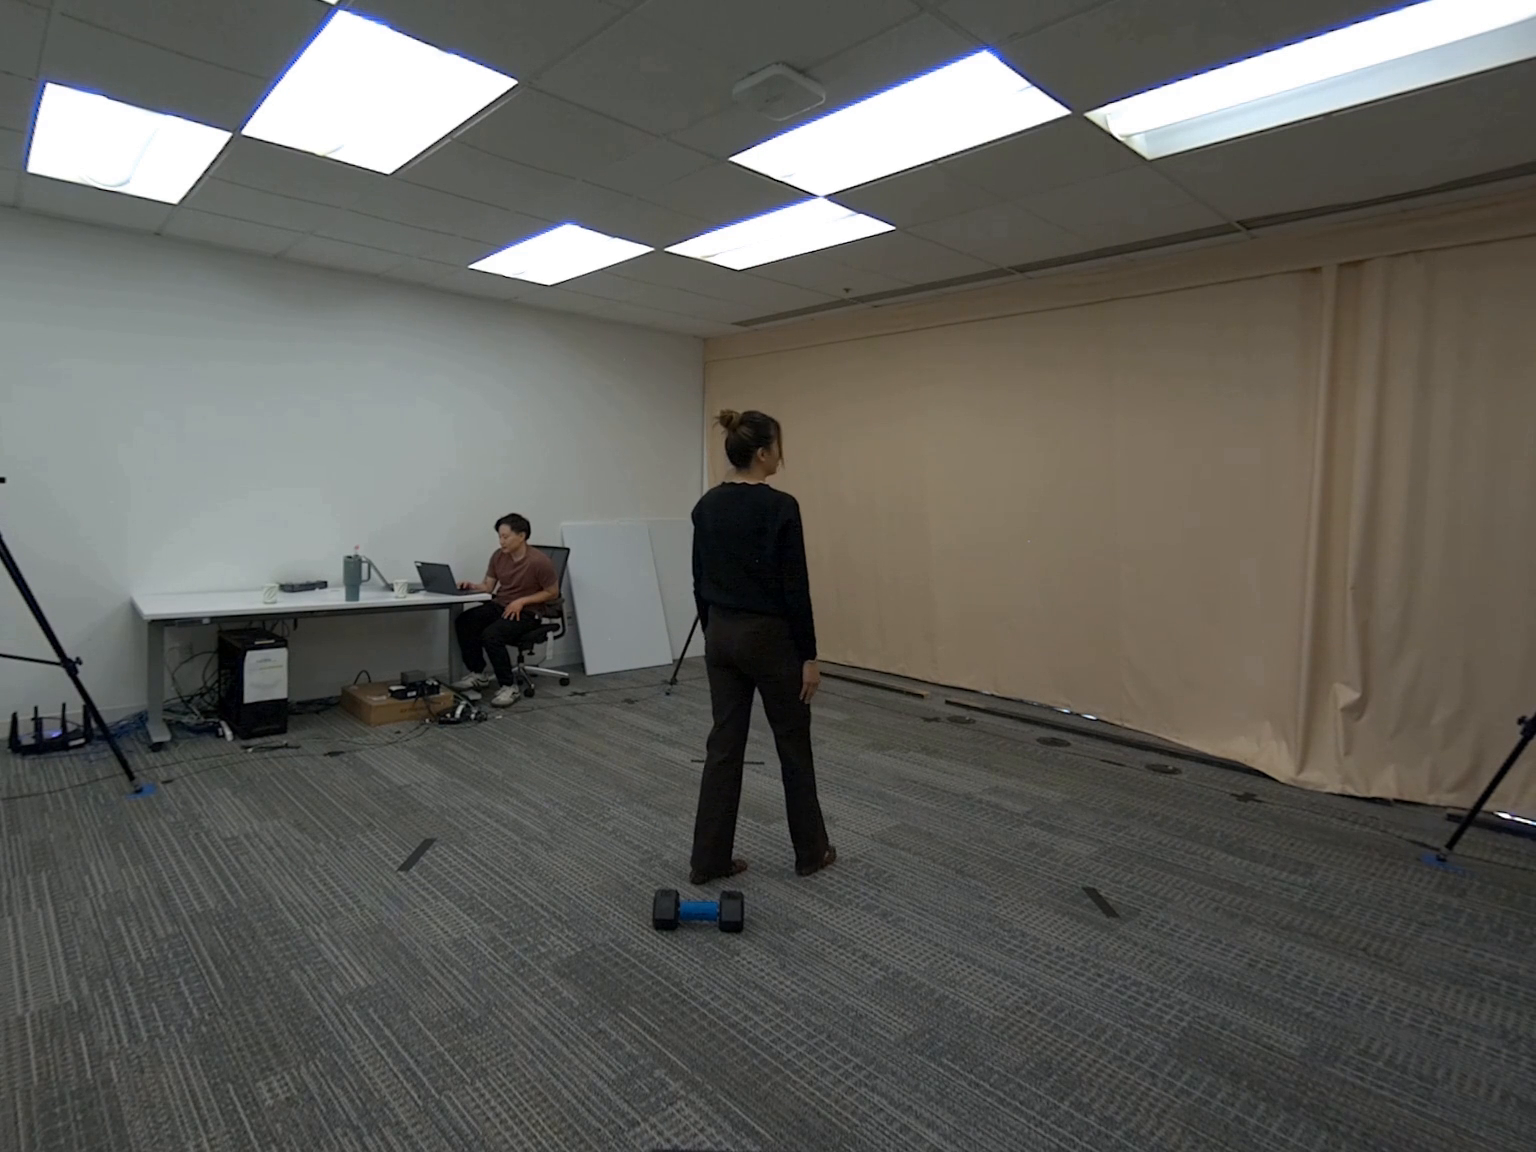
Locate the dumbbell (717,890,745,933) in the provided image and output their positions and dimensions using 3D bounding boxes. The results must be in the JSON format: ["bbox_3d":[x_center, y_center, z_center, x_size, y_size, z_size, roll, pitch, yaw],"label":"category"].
[{"bbox_3d":[-0.229,1.087,2.715,0.294,0.120,0.111,1,34,1],"label":"dumbbell"}]
